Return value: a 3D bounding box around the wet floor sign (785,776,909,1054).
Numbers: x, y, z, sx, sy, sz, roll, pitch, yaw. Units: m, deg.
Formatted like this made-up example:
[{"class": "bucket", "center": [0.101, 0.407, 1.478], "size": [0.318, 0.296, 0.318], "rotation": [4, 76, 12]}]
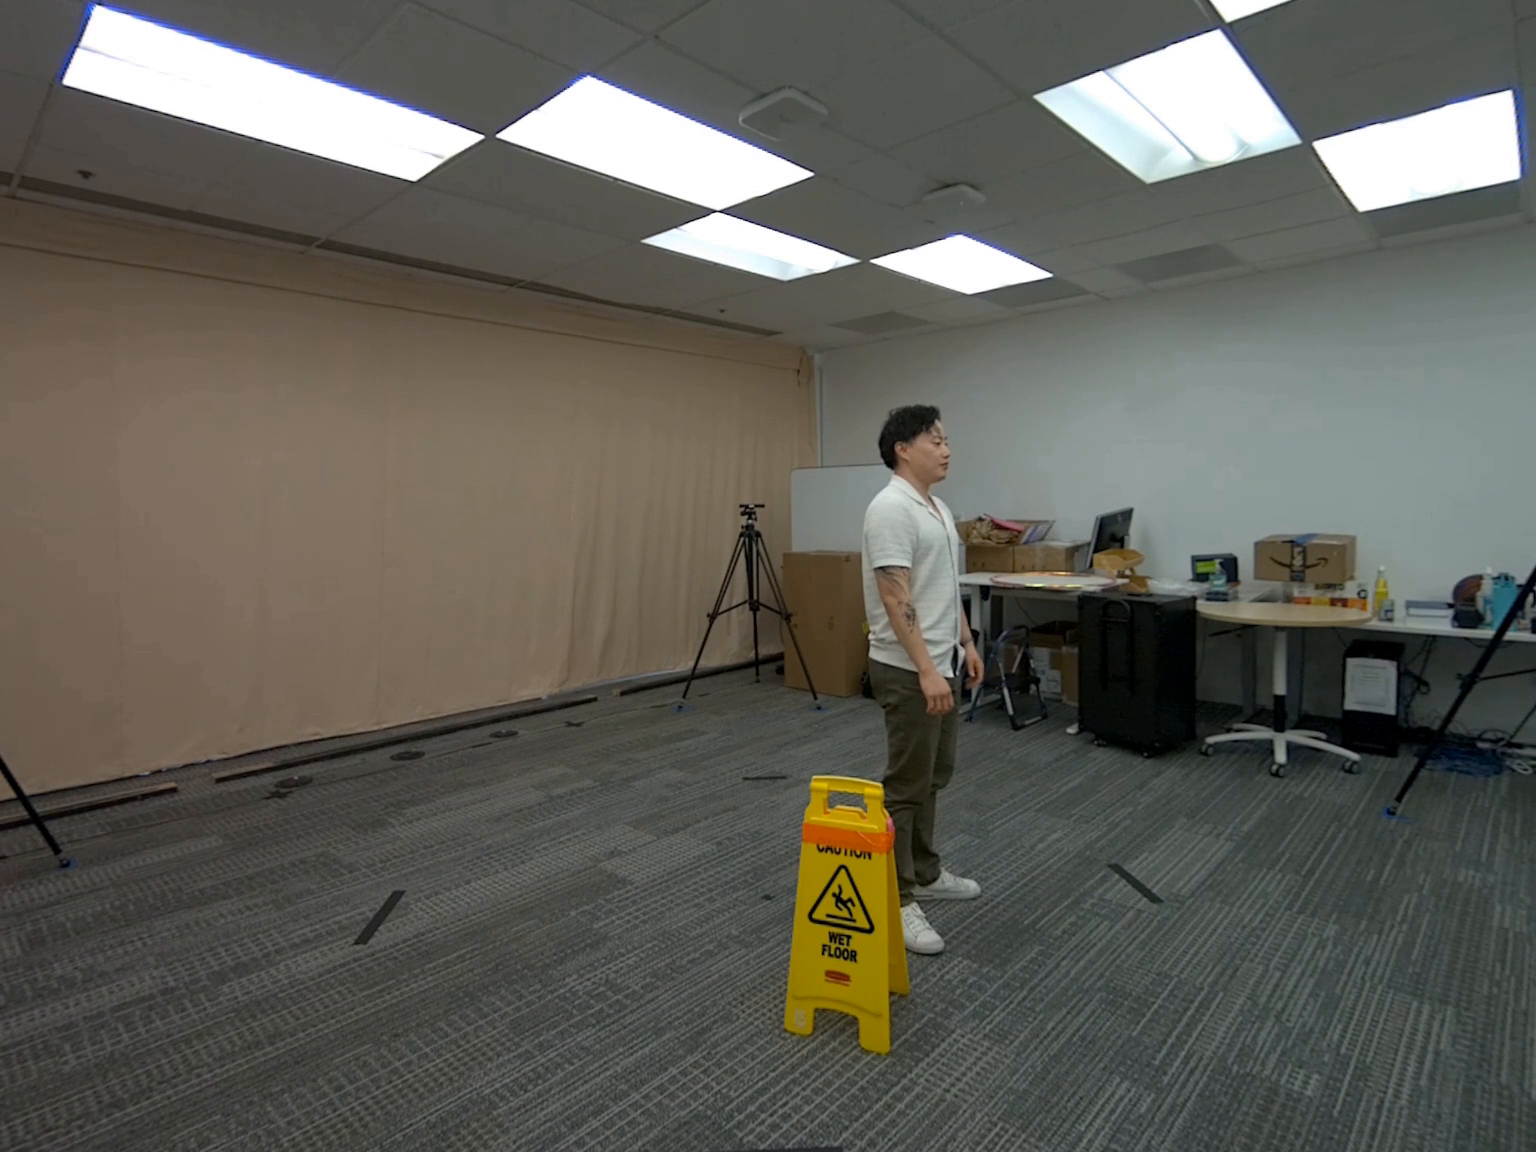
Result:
[{"class": "wet floor sign", "center": [0.227, 0.874, 2.291], "size": [0.289, 0.645, 0.284], "rotation": [2, 3, 22]}]
